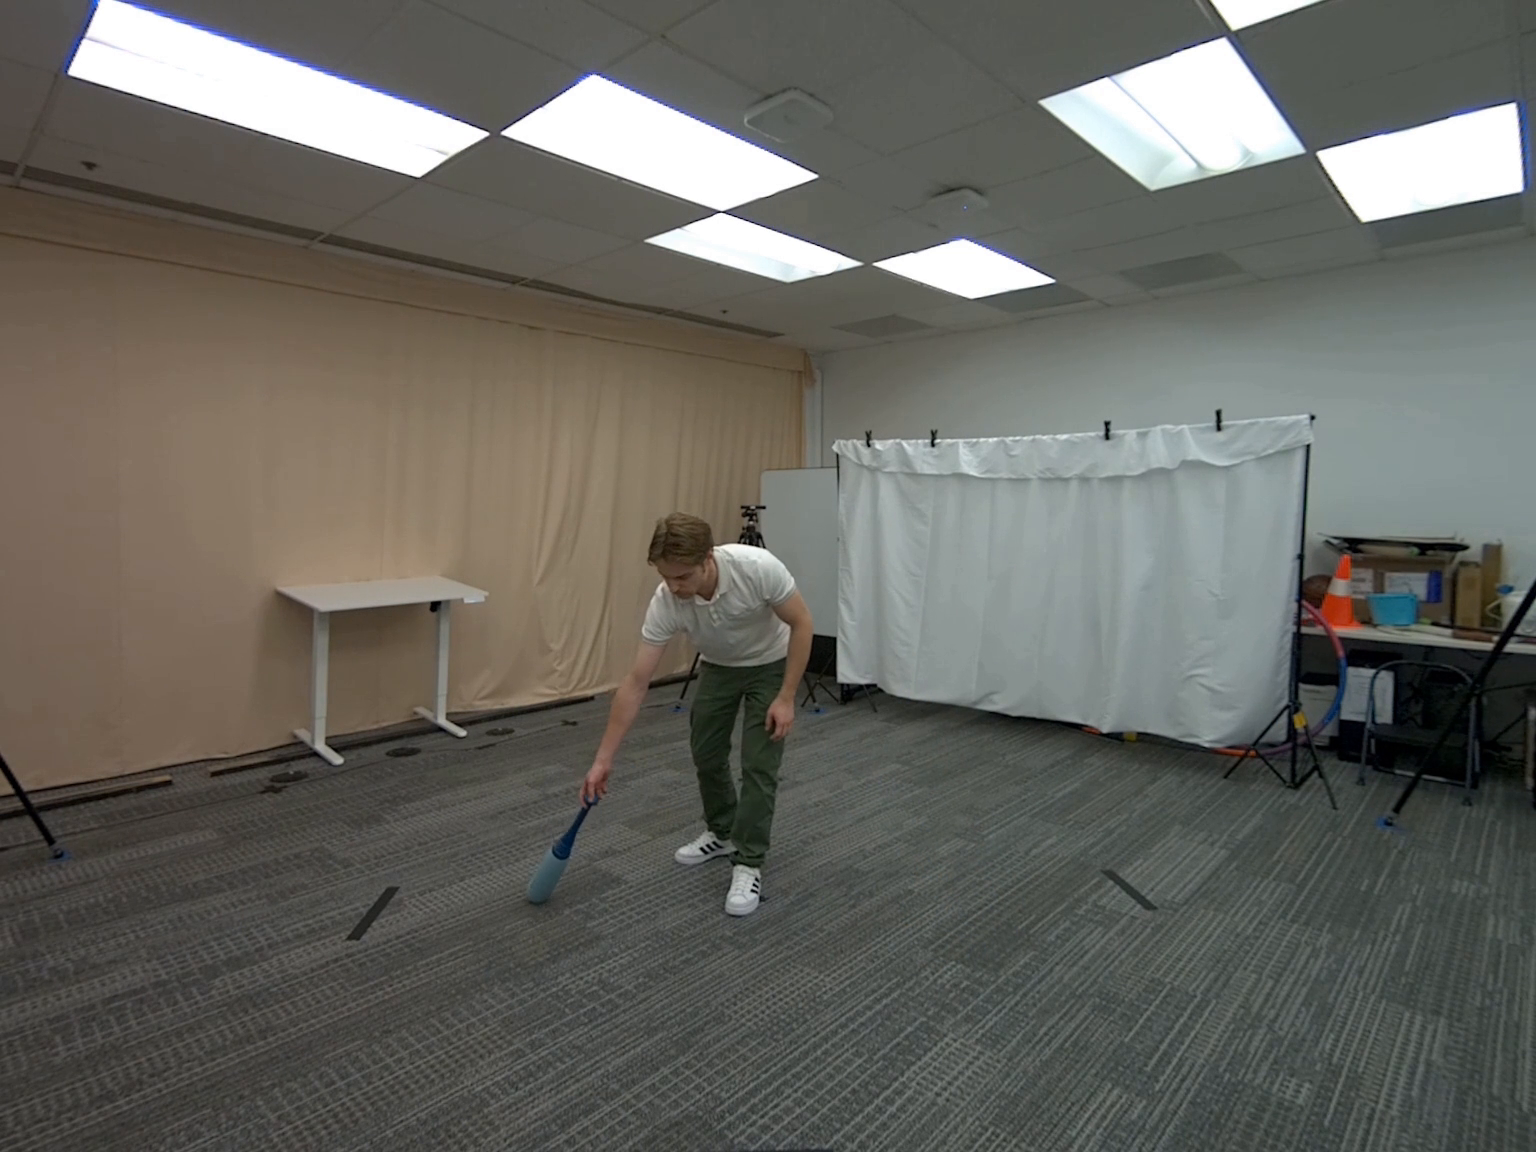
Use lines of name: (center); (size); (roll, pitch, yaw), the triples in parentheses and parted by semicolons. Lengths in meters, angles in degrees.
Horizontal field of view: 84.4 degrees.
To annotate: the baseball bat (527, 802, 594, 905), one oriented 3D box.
baseball bat: (-0.693, 0.931, 2.867); (0.087, 0.543, 0.090); (24, 28, -16)
